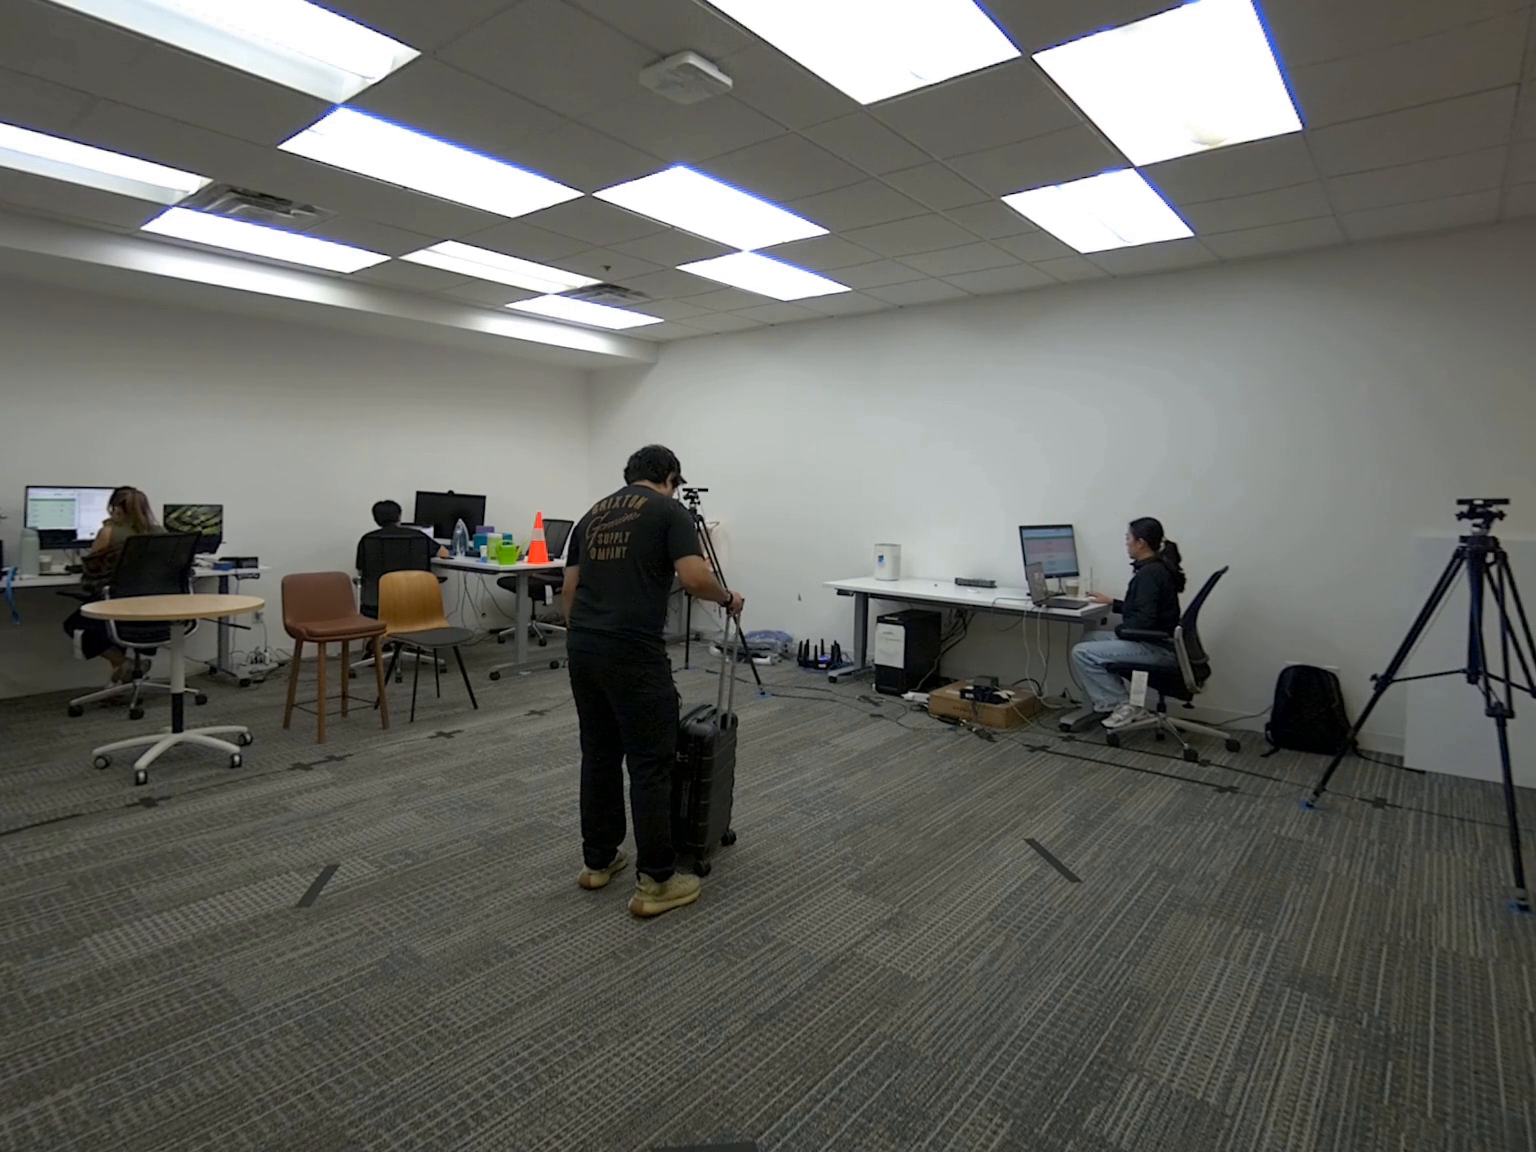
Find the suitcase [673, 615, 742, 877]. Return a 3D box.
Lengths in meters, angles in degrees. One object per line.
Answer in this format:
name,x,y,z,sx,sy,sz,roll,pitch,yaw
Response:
suitcase,-0.279,0.575,3.220,0.262,0.976,0.378,4,4,15
